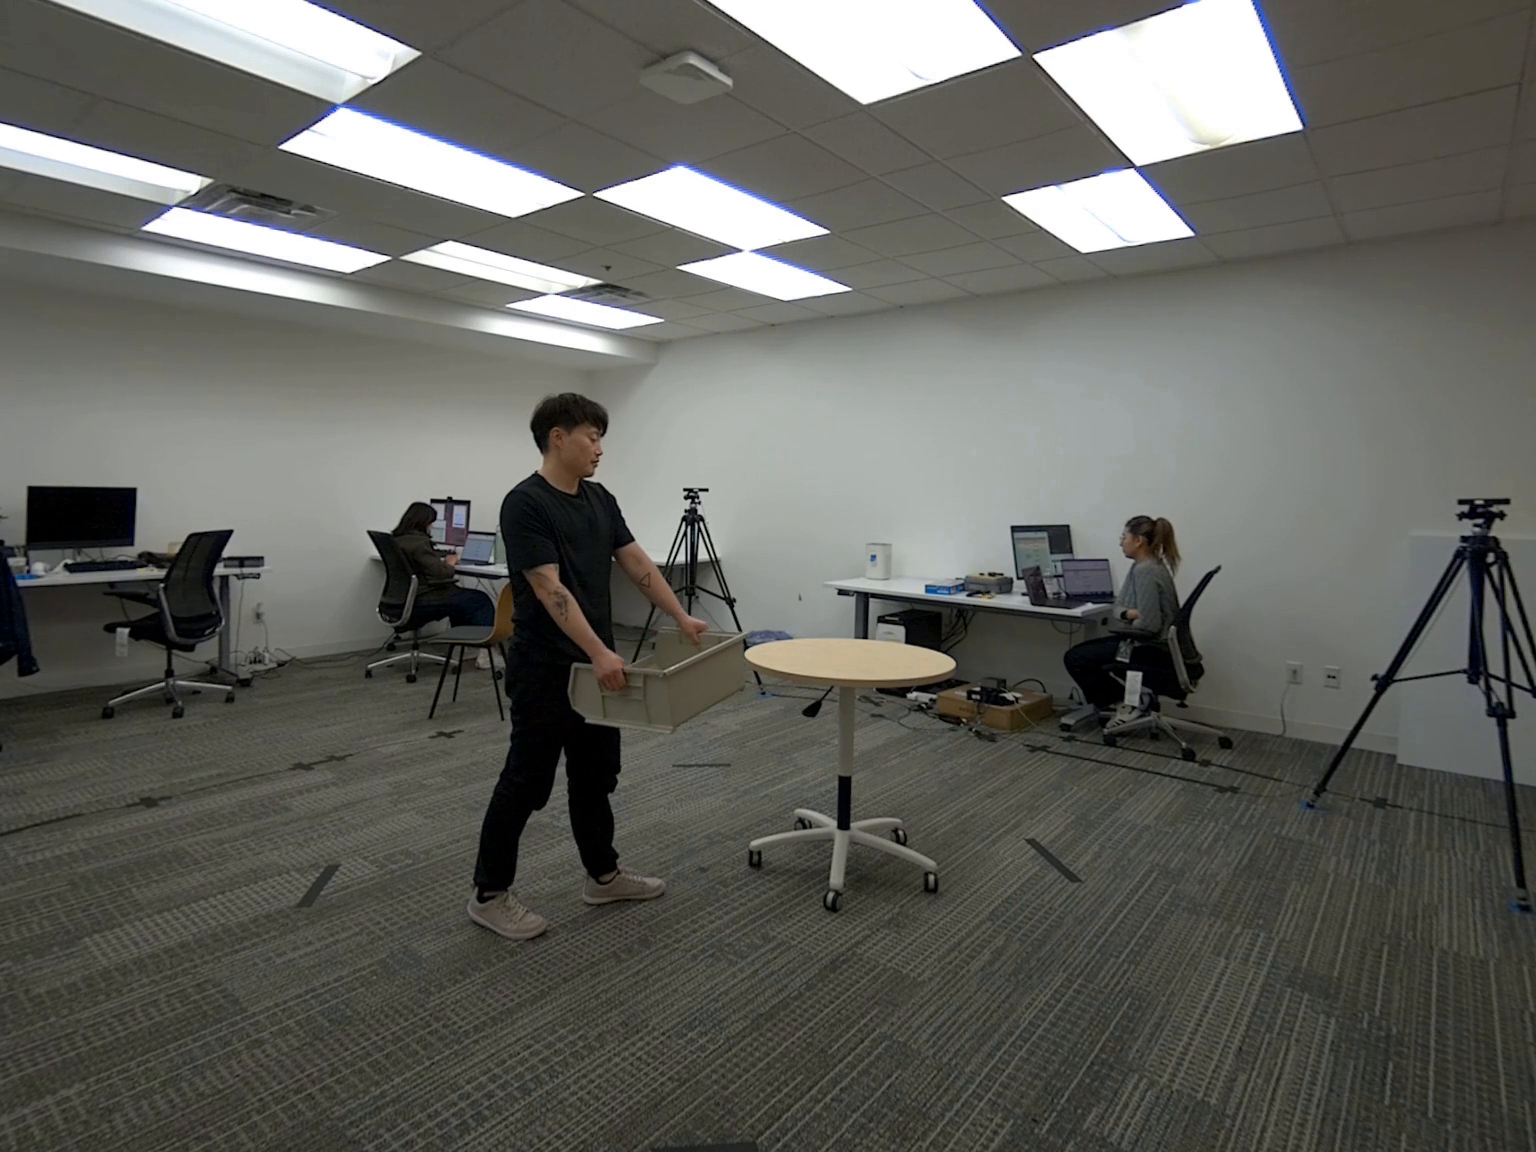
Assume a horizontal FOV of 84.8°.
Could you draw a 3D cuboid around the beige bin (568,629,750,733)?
[{"bbox_3d":[-0.332,0.297,2.557,0.389,0.187,0.413,2,11,32],"label":"beige bin"}]
